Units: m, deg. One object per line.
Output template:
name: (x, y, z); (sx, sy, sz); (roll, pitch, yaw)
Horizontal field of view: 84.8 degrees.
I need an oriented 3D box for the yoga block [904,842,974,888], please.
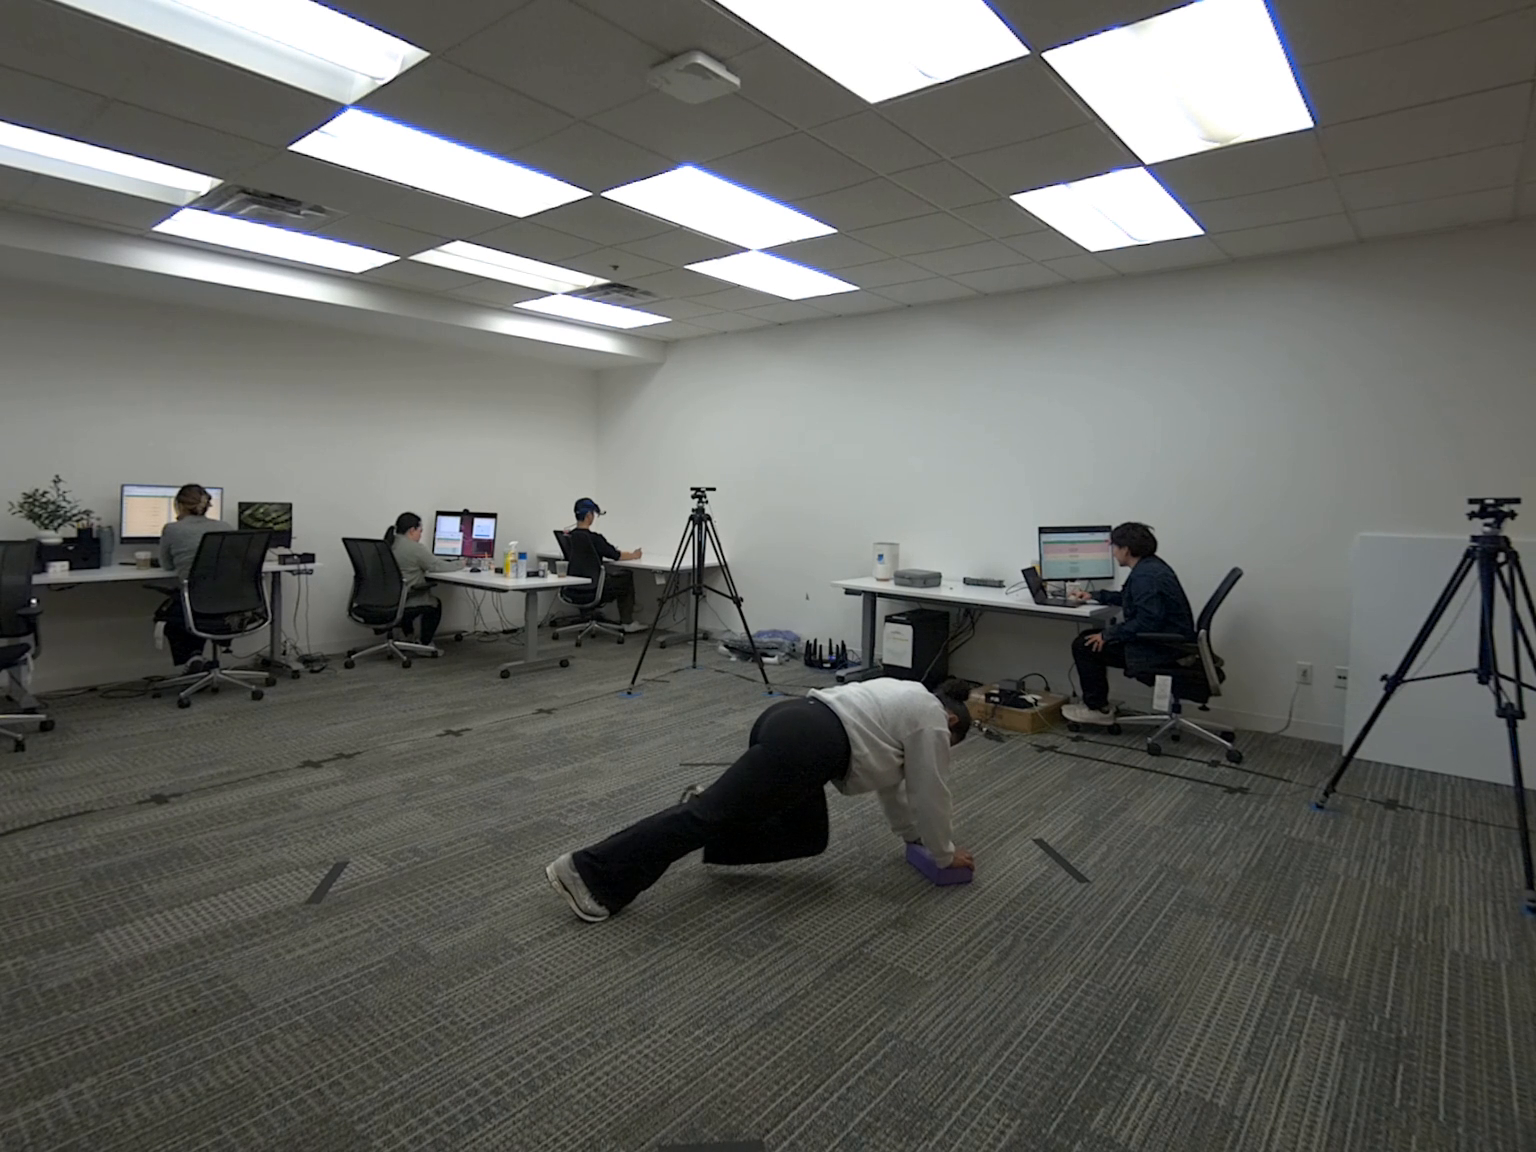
yoga block: (0.625, 1.054, 3.136); (0.146, 0.076, 0.234); (1, 4, -19)
